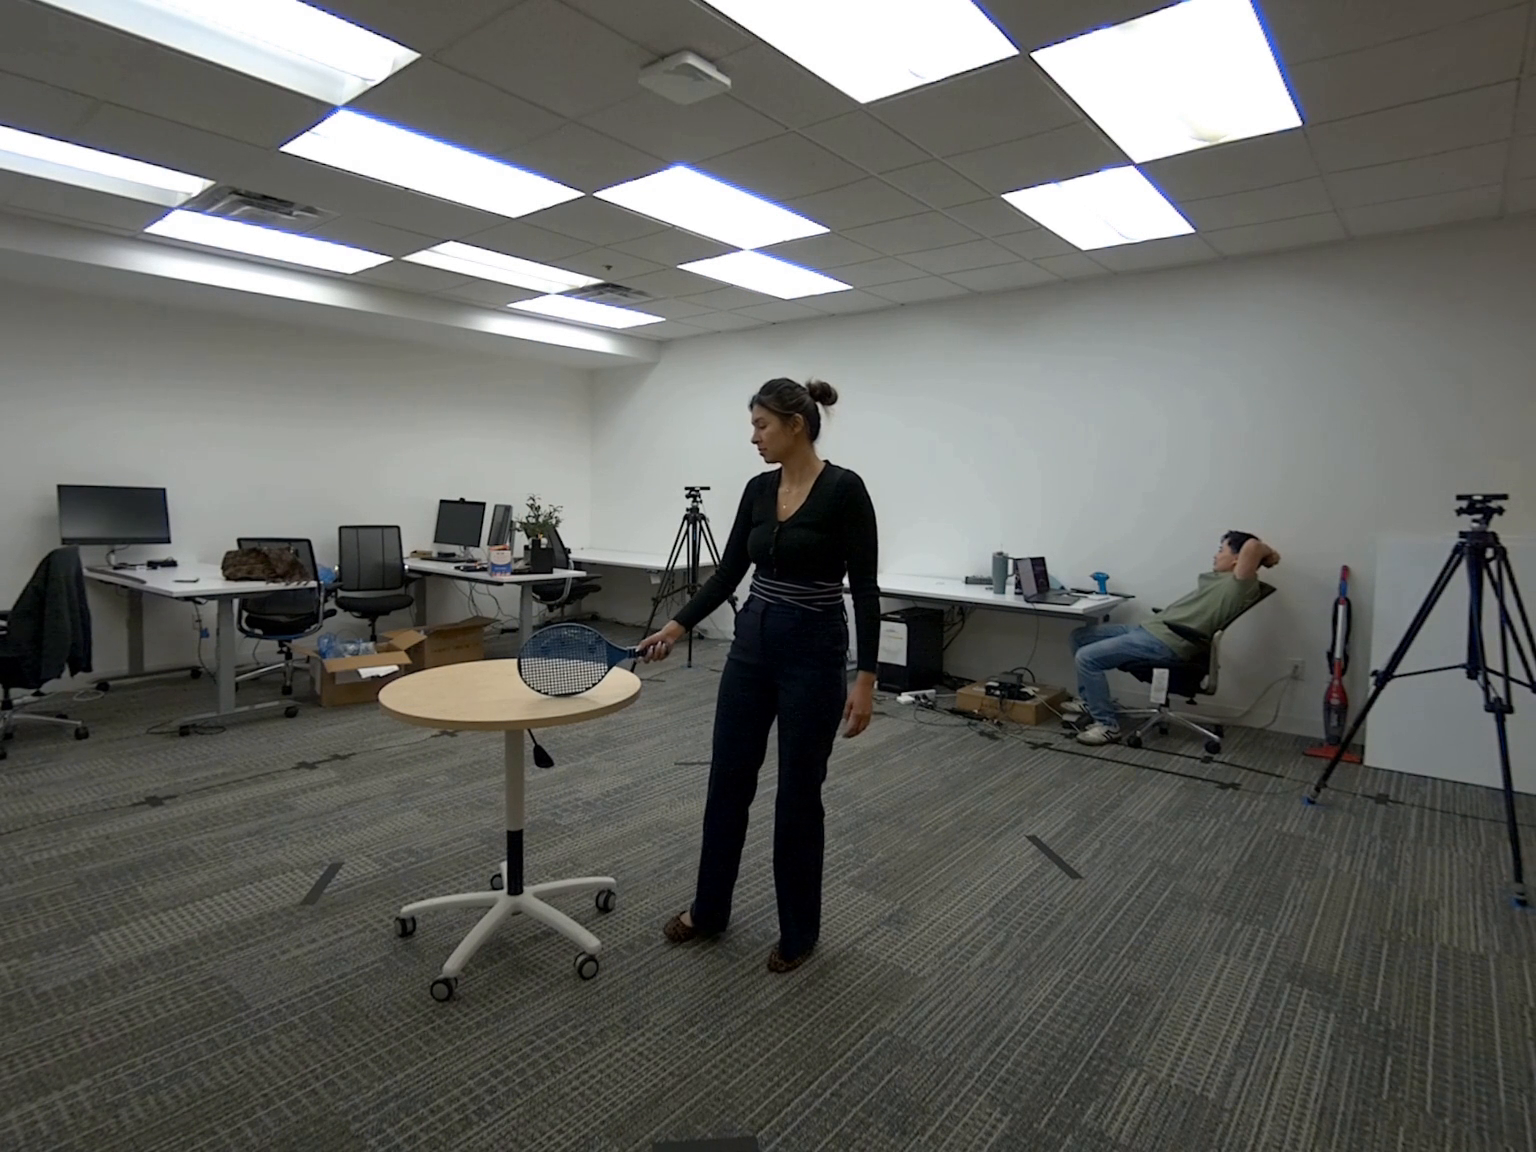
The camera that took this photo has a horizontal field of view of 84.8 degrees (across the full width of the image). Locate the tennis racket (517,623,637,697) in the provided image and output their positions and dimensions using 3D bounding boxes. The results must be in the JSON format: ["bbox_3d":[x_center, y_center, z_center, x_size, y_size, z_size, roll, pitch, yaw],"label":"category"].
[{"bbox_3d":[-0.518,0.231,2.458,0.431,0.211,0.032,-2,12,-4],"label":"tennis racket"}]
